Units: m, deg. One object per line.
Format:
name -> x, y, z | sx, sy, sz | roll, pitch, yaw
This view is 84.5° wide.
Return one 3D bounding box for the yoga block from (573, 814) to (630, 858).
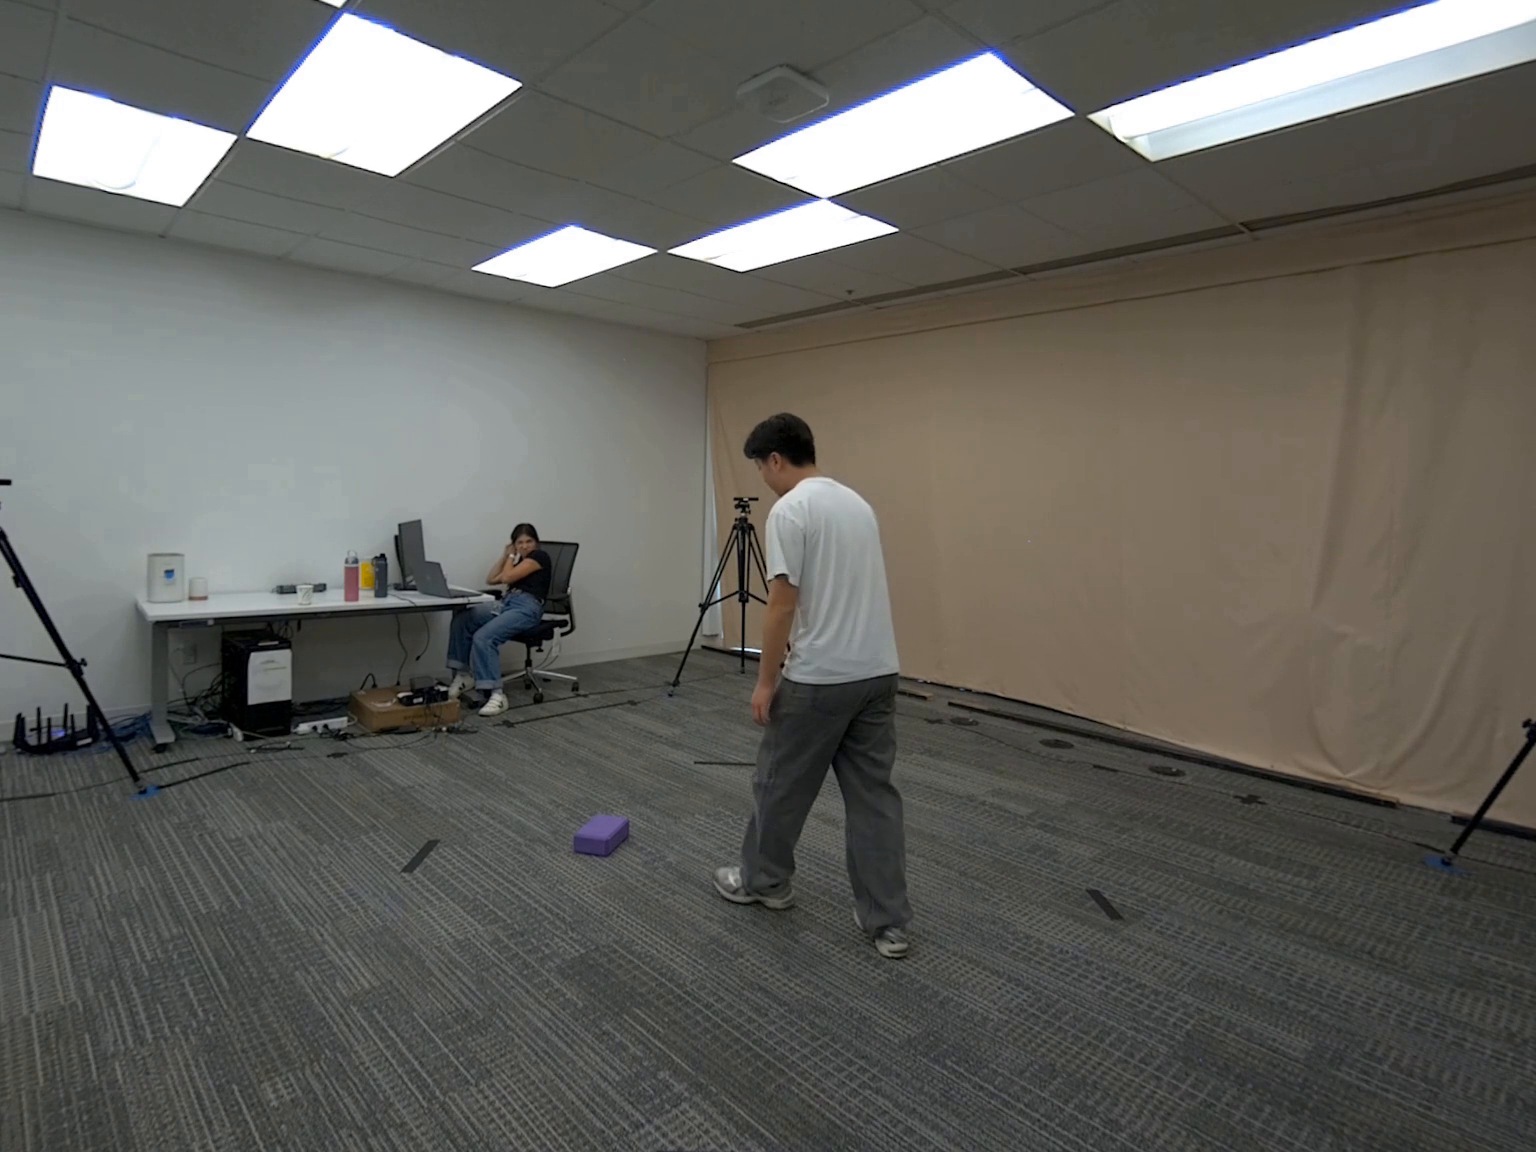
yoga block -> -0.673, 1.037, 3.357 | 0.151, 0.076, 0.227 | 4, 6, 15
